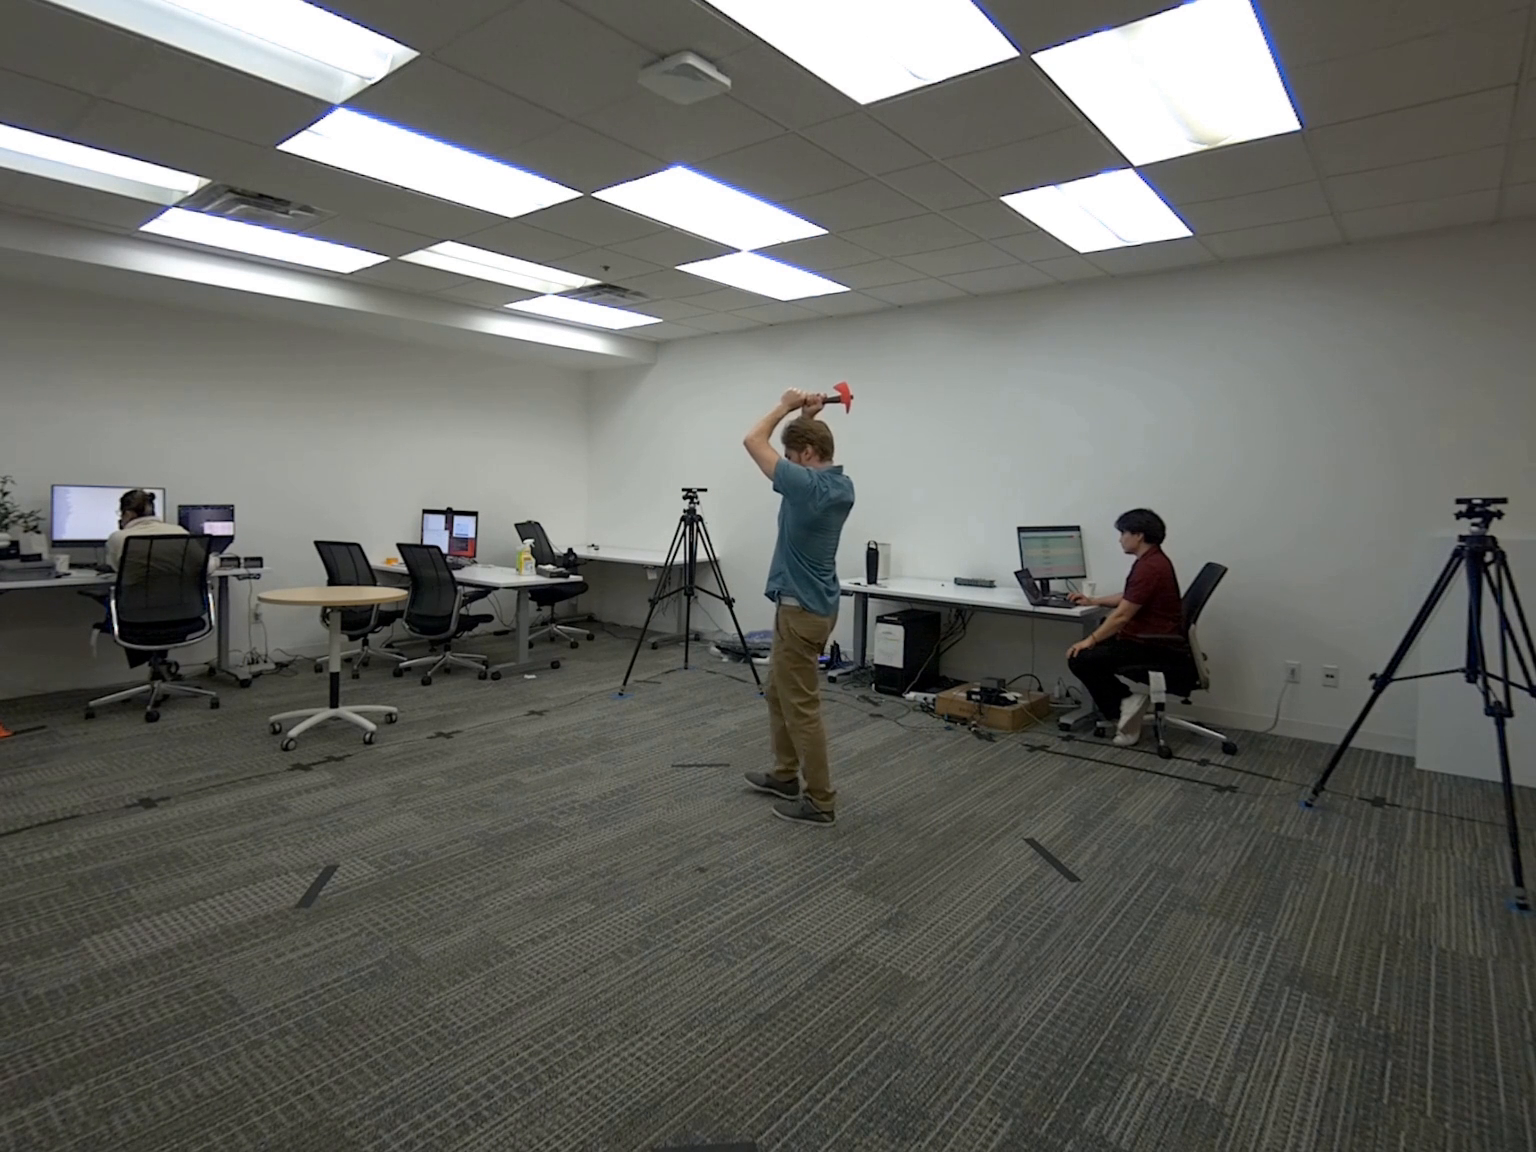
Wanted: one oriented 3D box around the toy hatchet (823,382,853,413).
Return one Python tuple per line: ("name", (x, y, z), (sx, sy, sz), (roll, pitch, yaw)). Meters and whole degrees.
("toy hatchet", (0.221, -0.793, 3.641), (0.273, 0.130, 0.029), (16, 8, 8))
